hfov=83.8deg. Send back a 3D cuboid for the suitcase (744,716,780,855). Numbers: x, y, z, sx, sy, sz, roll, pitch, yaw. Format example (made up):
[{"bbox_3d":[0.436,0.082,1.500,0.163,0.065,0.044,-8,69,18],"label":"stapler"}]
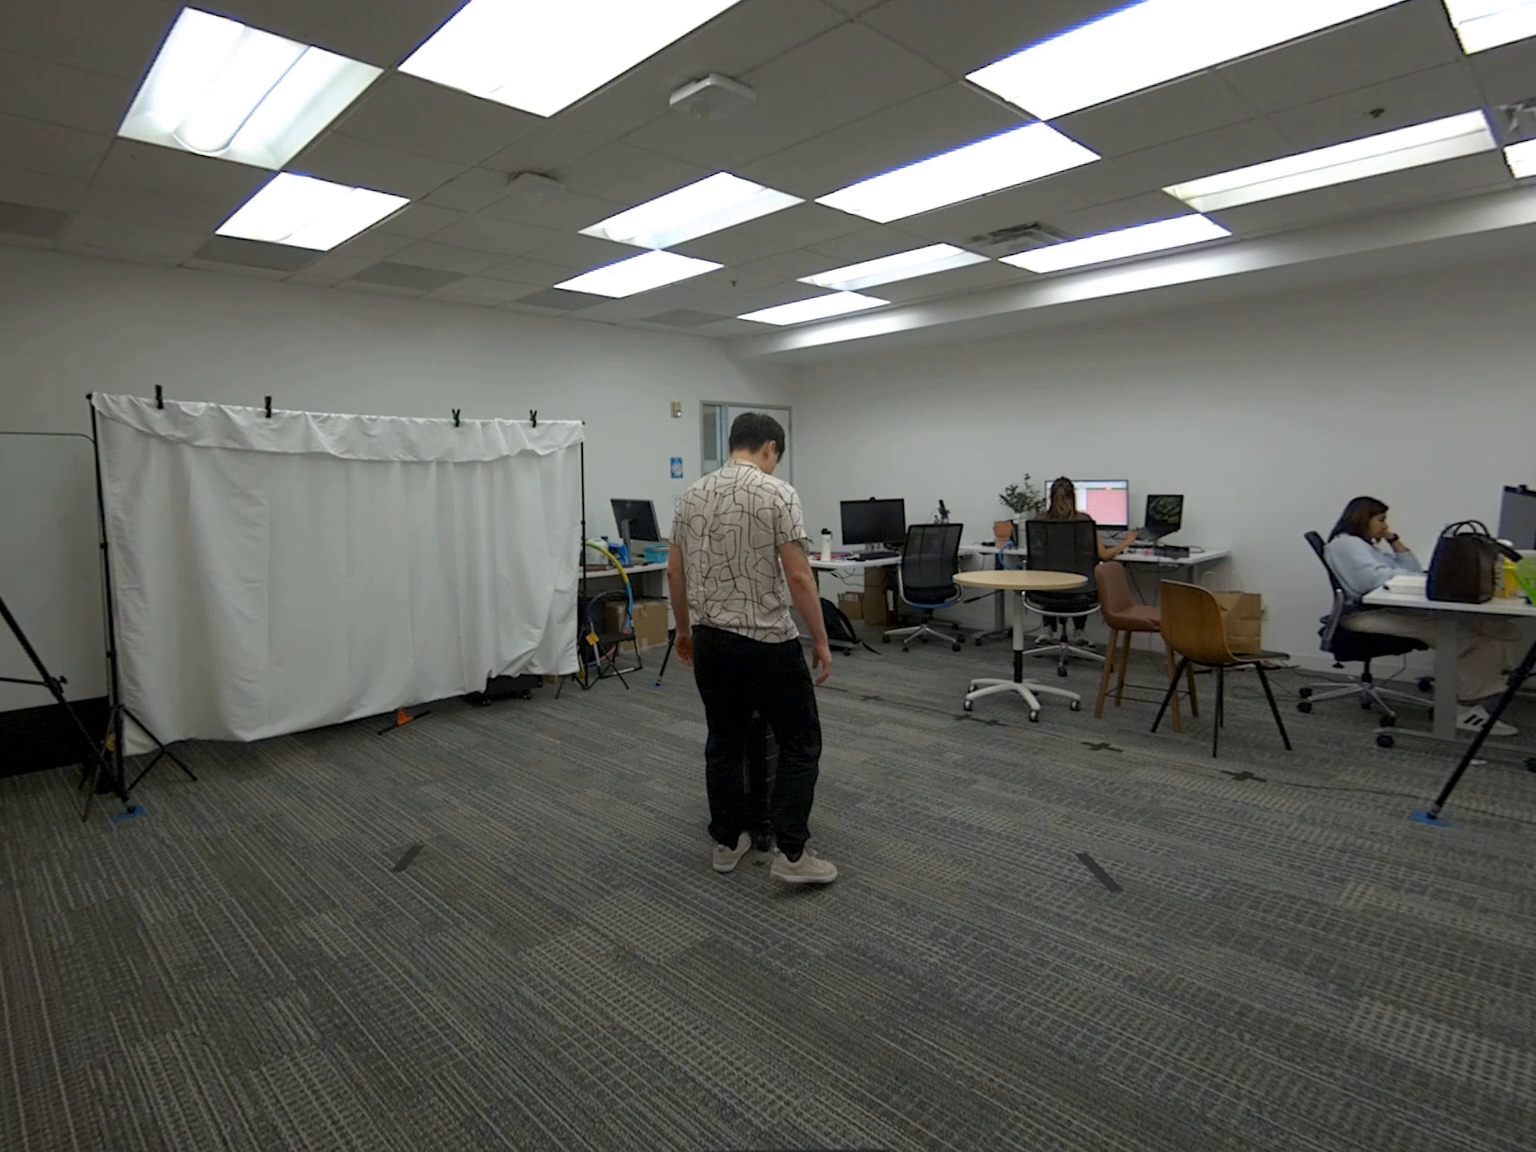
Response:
[{"bbox_3d":[-0.026,0.736,3.411,0.255,0.548,0.366,1,4,32],"label":"suitcase"}]
